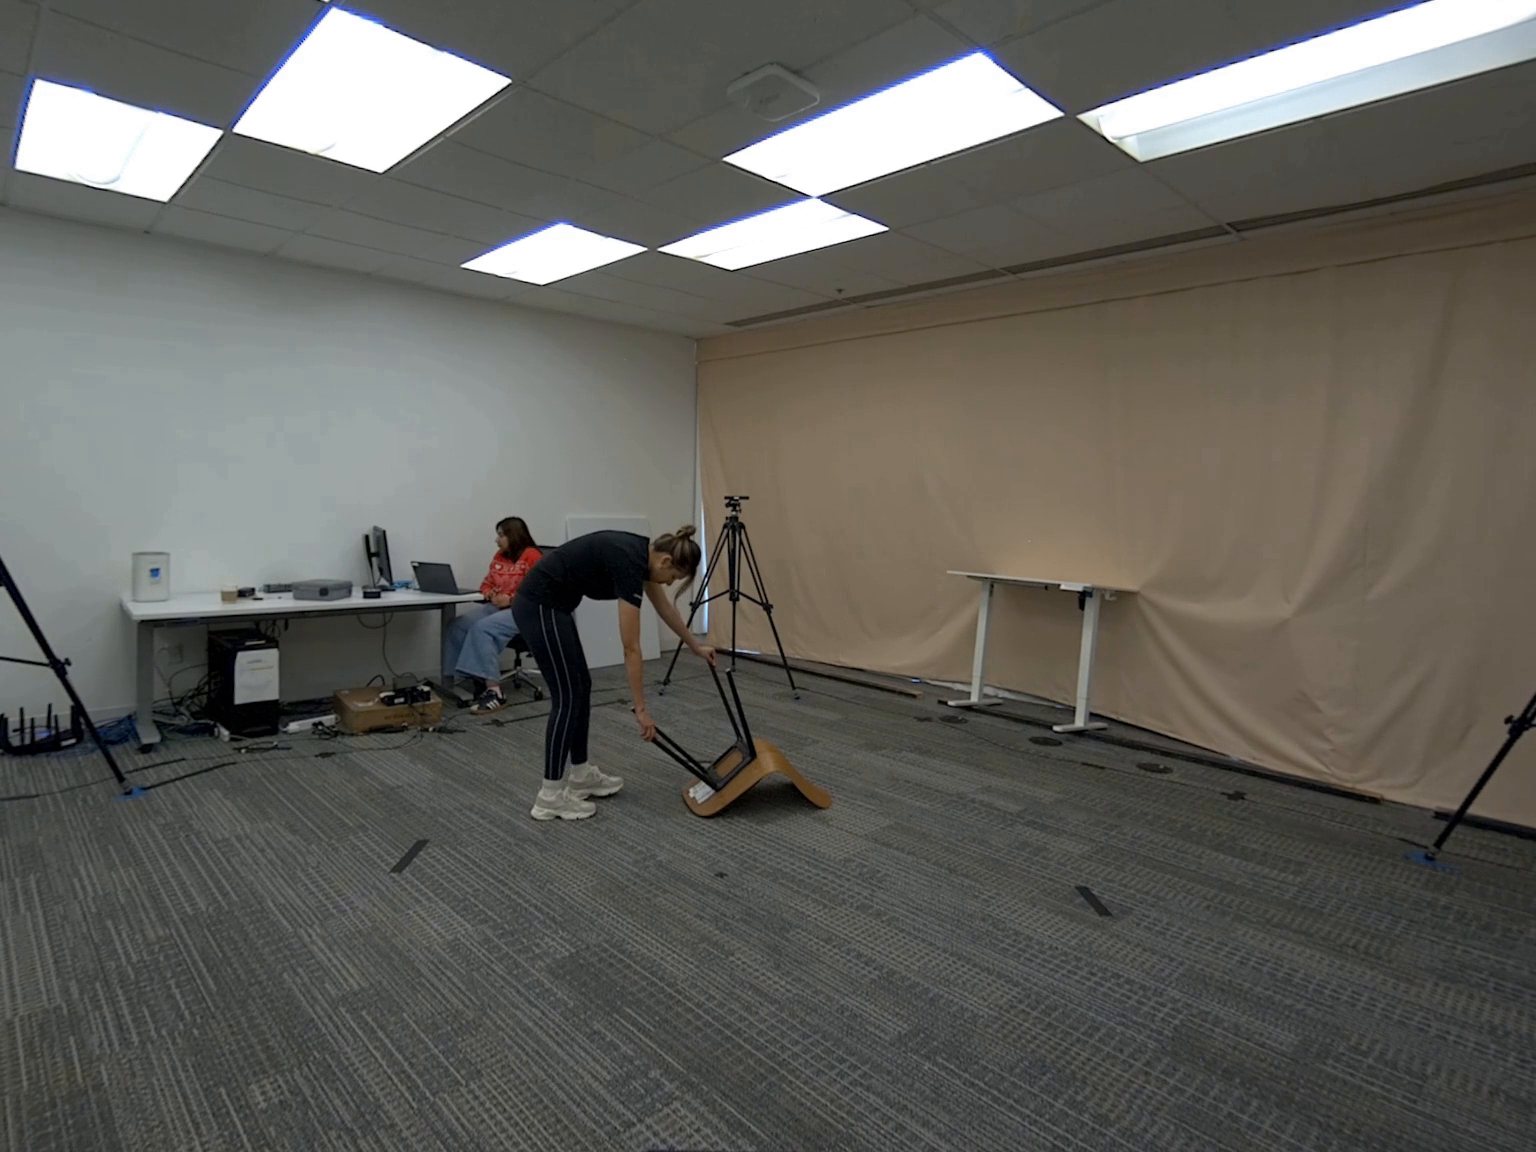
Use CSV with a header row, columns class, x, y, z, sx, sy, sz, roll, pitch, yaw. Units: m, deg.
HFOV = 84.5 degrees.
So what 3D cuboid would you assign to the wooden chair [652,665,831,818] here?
class,x,y,z,sx,sy,sz,roll,pitch,yaw
wooden chair,-0.193,0.861,3.876,0.522,0.866,0.485,-40,12,-9
